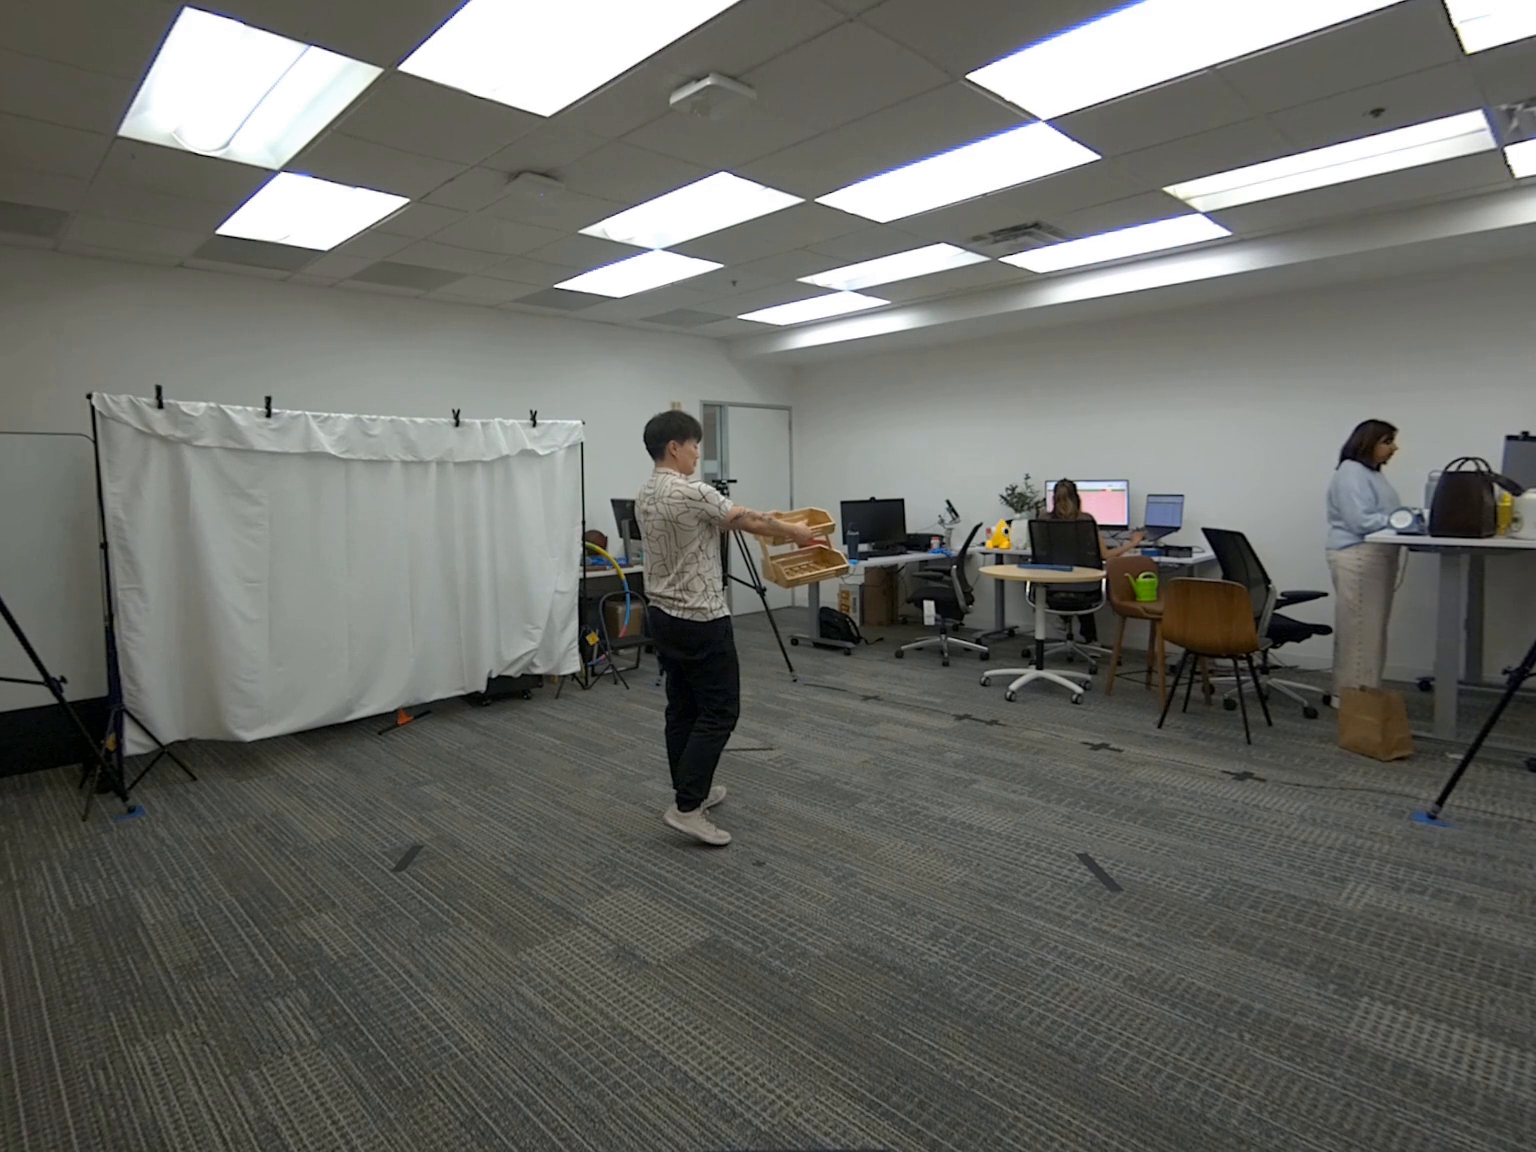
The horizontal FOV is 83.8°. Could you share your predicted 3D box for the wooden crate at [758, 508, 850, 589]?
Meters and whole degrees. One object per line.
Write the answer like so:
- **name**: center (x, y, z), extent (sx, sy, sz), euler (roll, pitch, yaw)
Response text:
- **wooden crate**: center (0.142, -0.129, 3.703), extent (0.319, 0.270, 0.311), euler (-12, 14, -23)
